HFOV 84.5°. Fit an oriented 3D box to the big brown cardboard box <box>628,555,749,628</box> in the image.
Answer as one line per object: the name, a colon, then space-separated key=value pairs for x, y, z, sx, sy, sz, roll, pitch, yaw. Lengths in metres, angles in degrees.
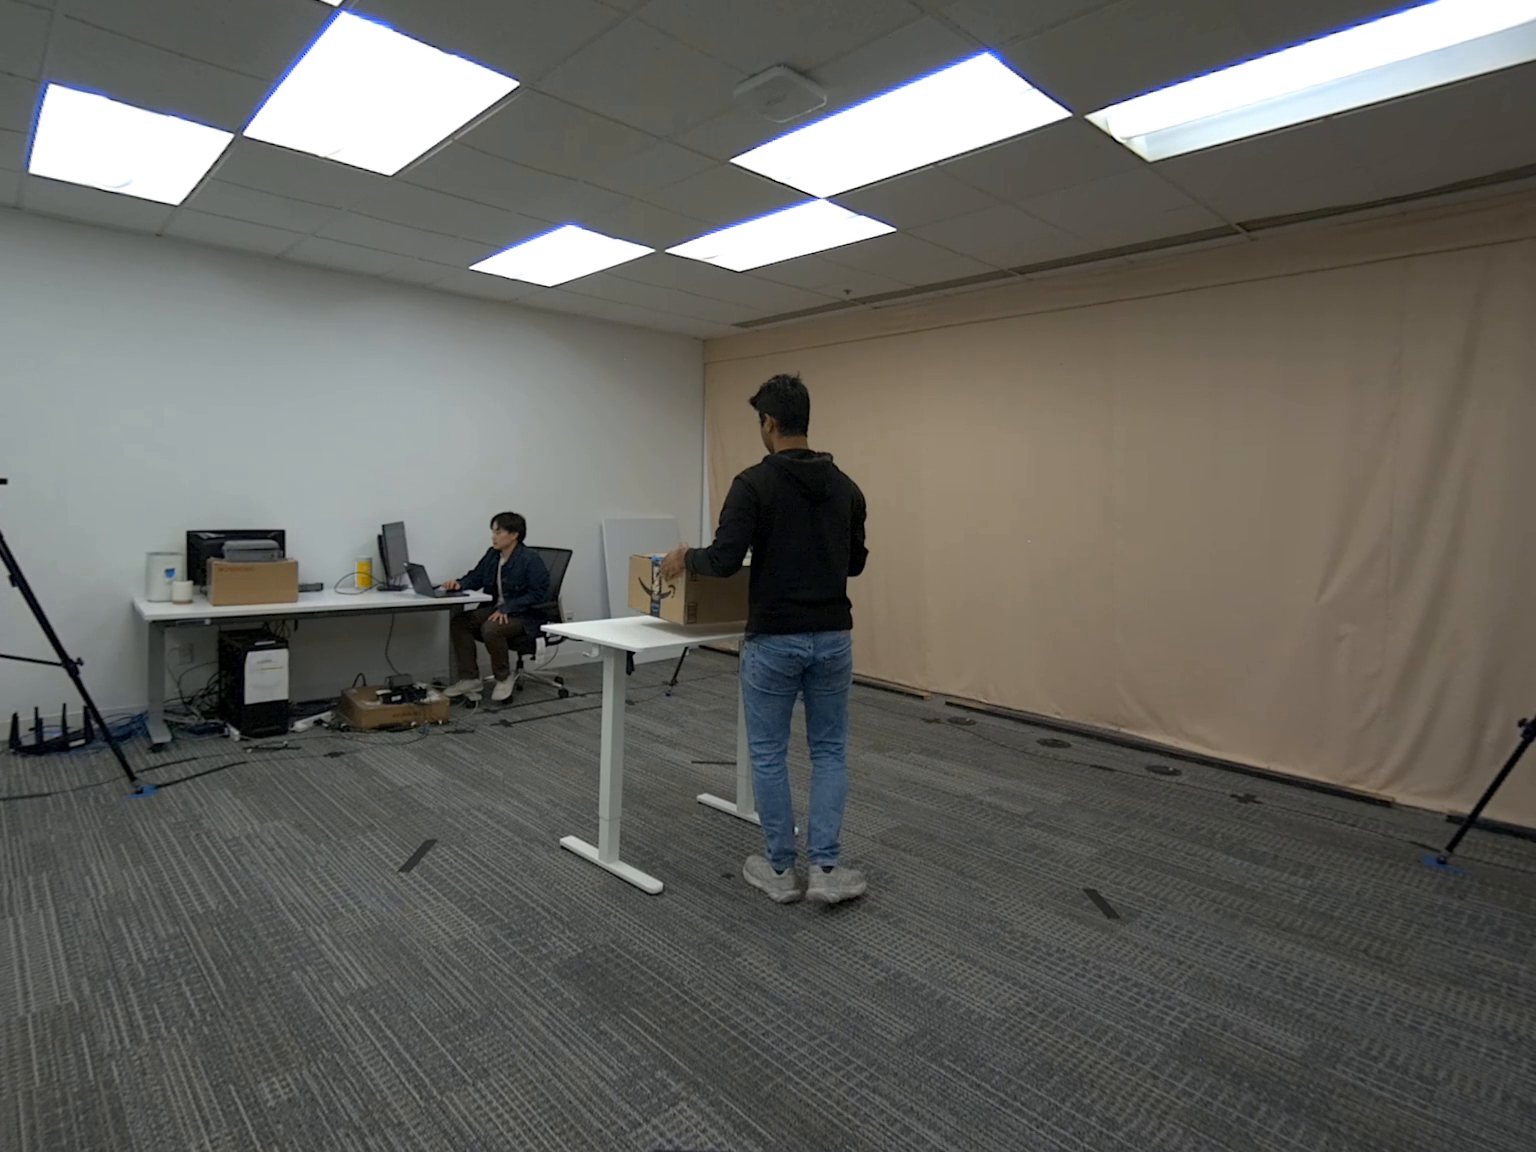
big brown cardboard box: x=-0.204 y=0.040 z=3.341 sx=0.576 sy=0.232 sz=0.428 roll=-2 pitch=8 yaw=-38
